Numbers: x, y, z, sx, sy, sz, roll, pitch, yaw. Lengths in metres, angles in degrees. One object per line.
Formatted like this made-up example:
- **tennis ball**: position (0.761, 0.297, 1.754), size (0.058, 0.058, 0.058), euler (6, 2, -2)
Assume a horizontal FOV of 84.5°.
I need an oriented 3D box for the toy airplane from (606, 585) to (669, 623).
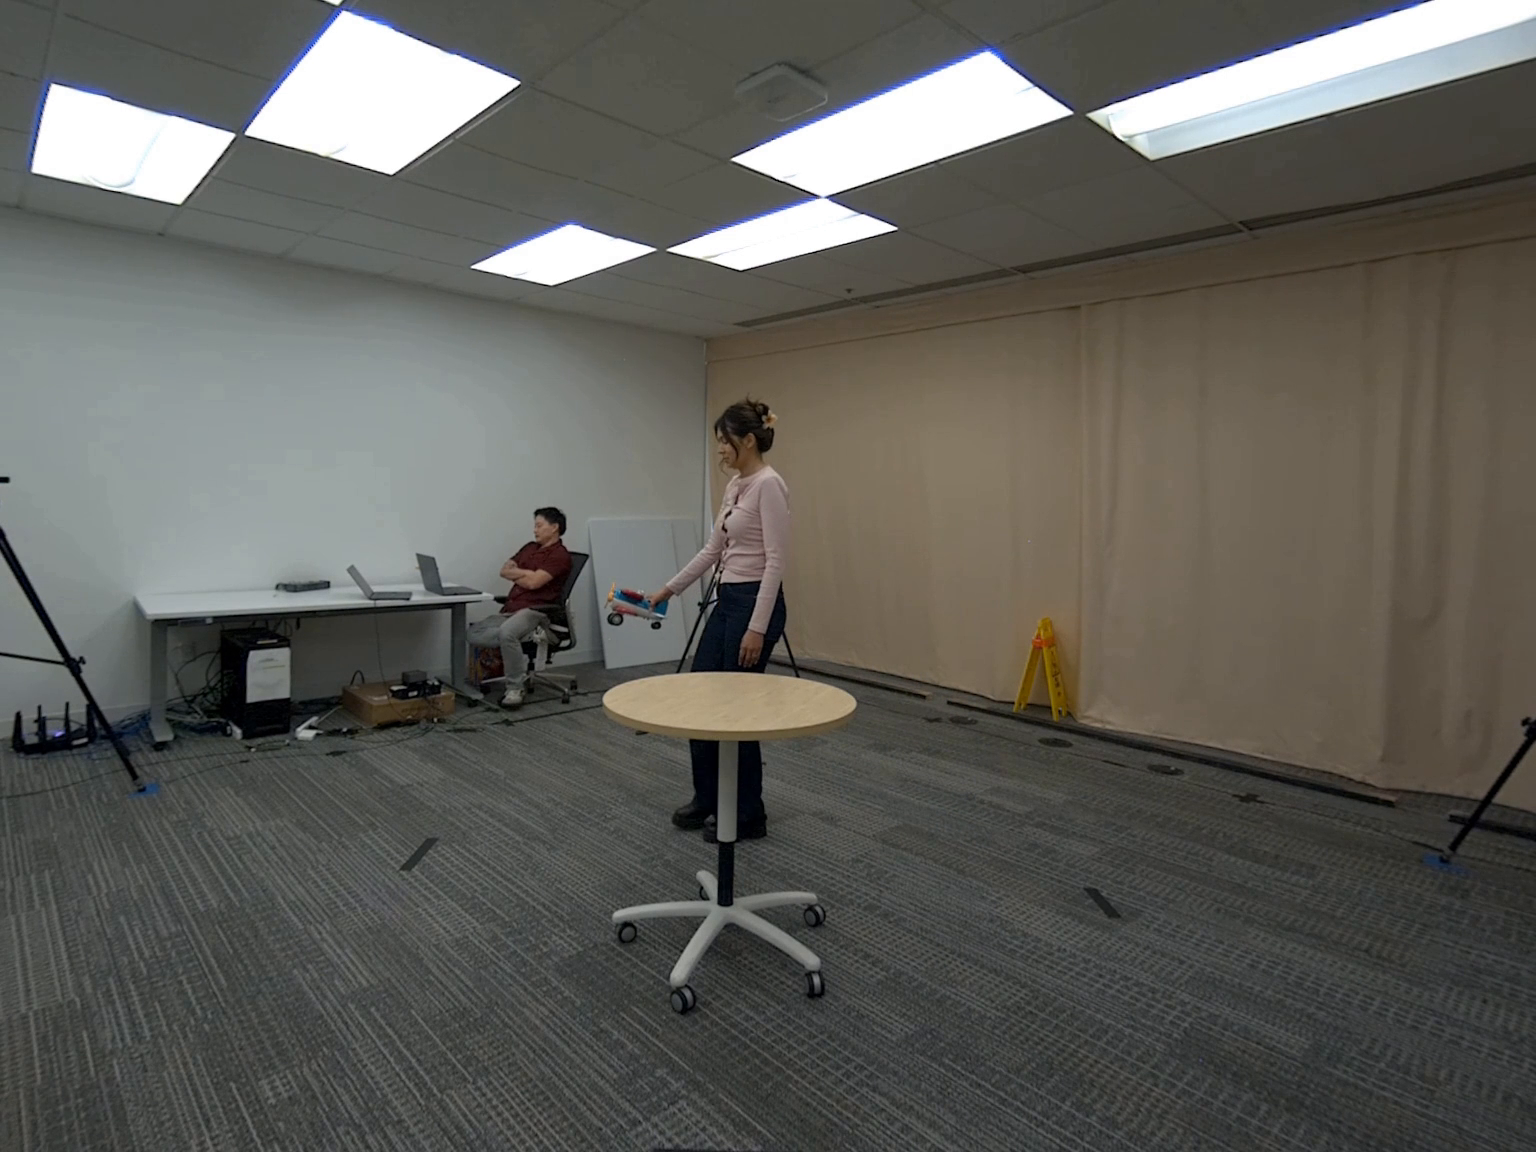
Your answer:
- **toy airplane**: position (-0.563, 0.138, 3.554), size (0.257, 0.157, 0.252), euler (0, -4, 44)
